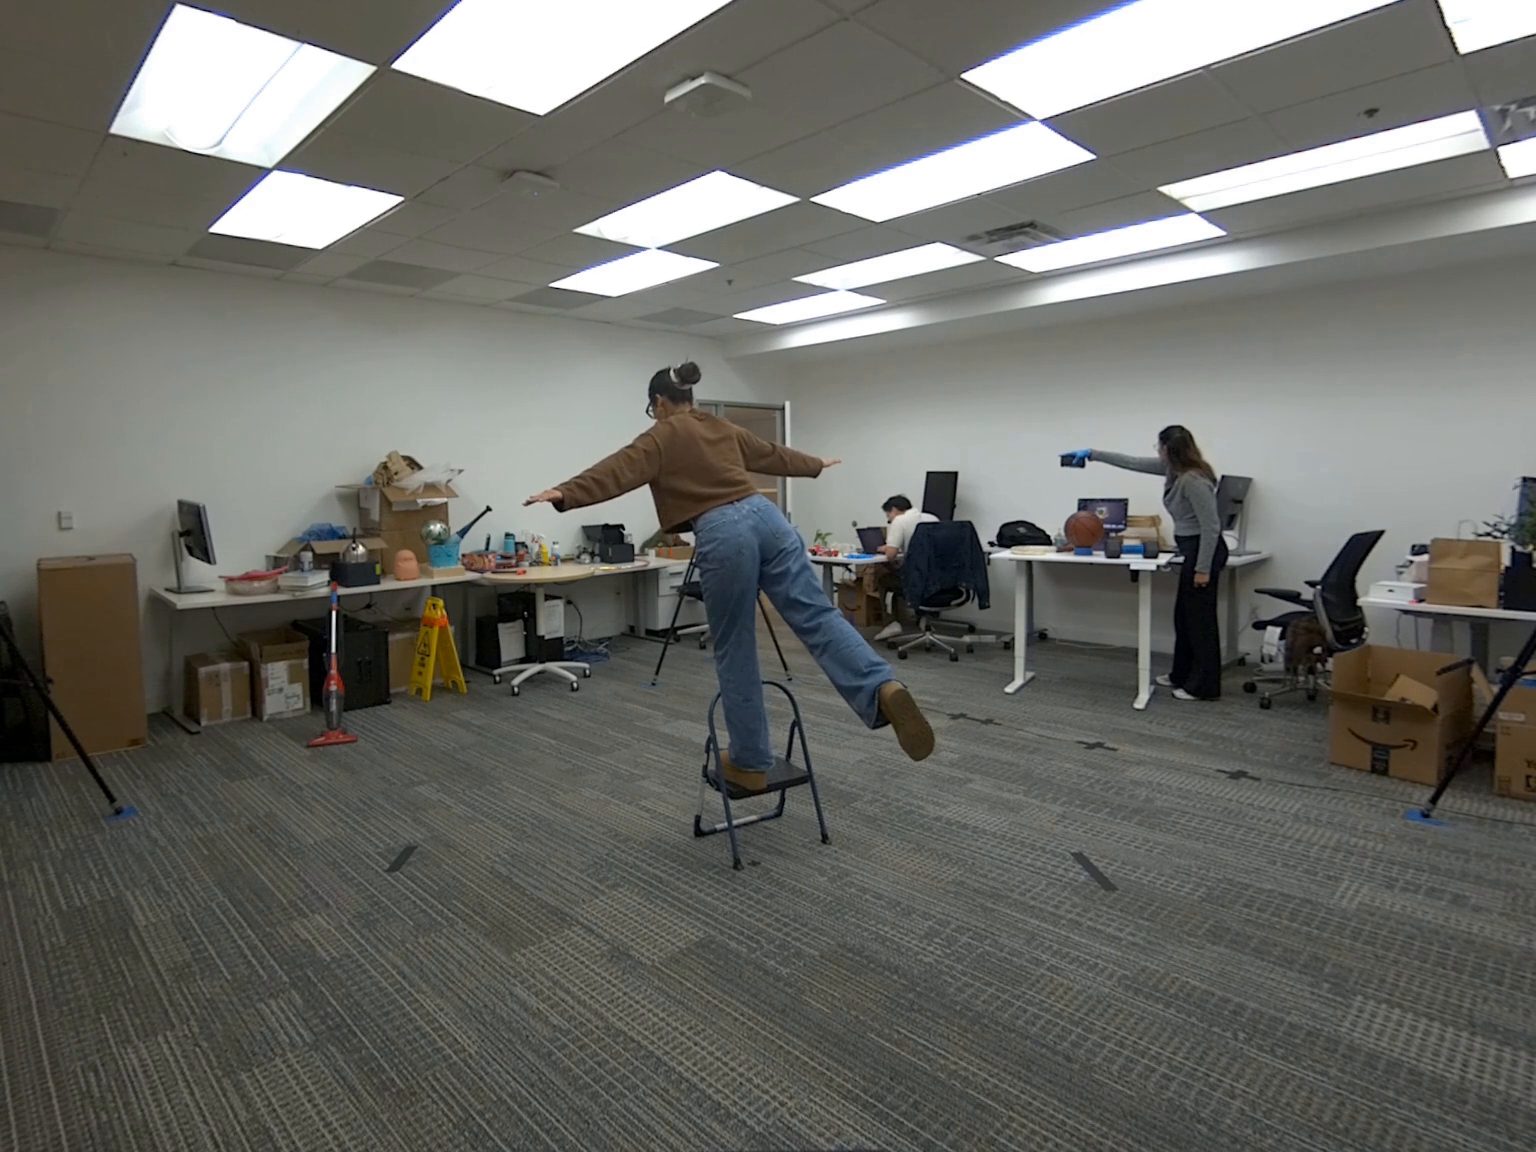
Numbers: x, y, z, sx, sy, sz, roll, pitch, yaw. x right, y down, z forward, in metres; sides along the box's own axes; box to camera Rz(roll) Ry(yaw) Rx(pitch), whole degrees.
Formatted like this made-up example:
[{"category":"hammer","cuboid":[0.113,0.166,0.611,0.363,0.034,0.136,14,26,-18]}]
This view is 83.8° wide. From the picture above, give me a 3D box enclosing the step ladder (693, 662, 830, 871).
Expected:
[{"category":"step ladder","cuboid":[-0.030,0.721,3.293,0.420,0.604,0.359,-4,5,-33]}]
